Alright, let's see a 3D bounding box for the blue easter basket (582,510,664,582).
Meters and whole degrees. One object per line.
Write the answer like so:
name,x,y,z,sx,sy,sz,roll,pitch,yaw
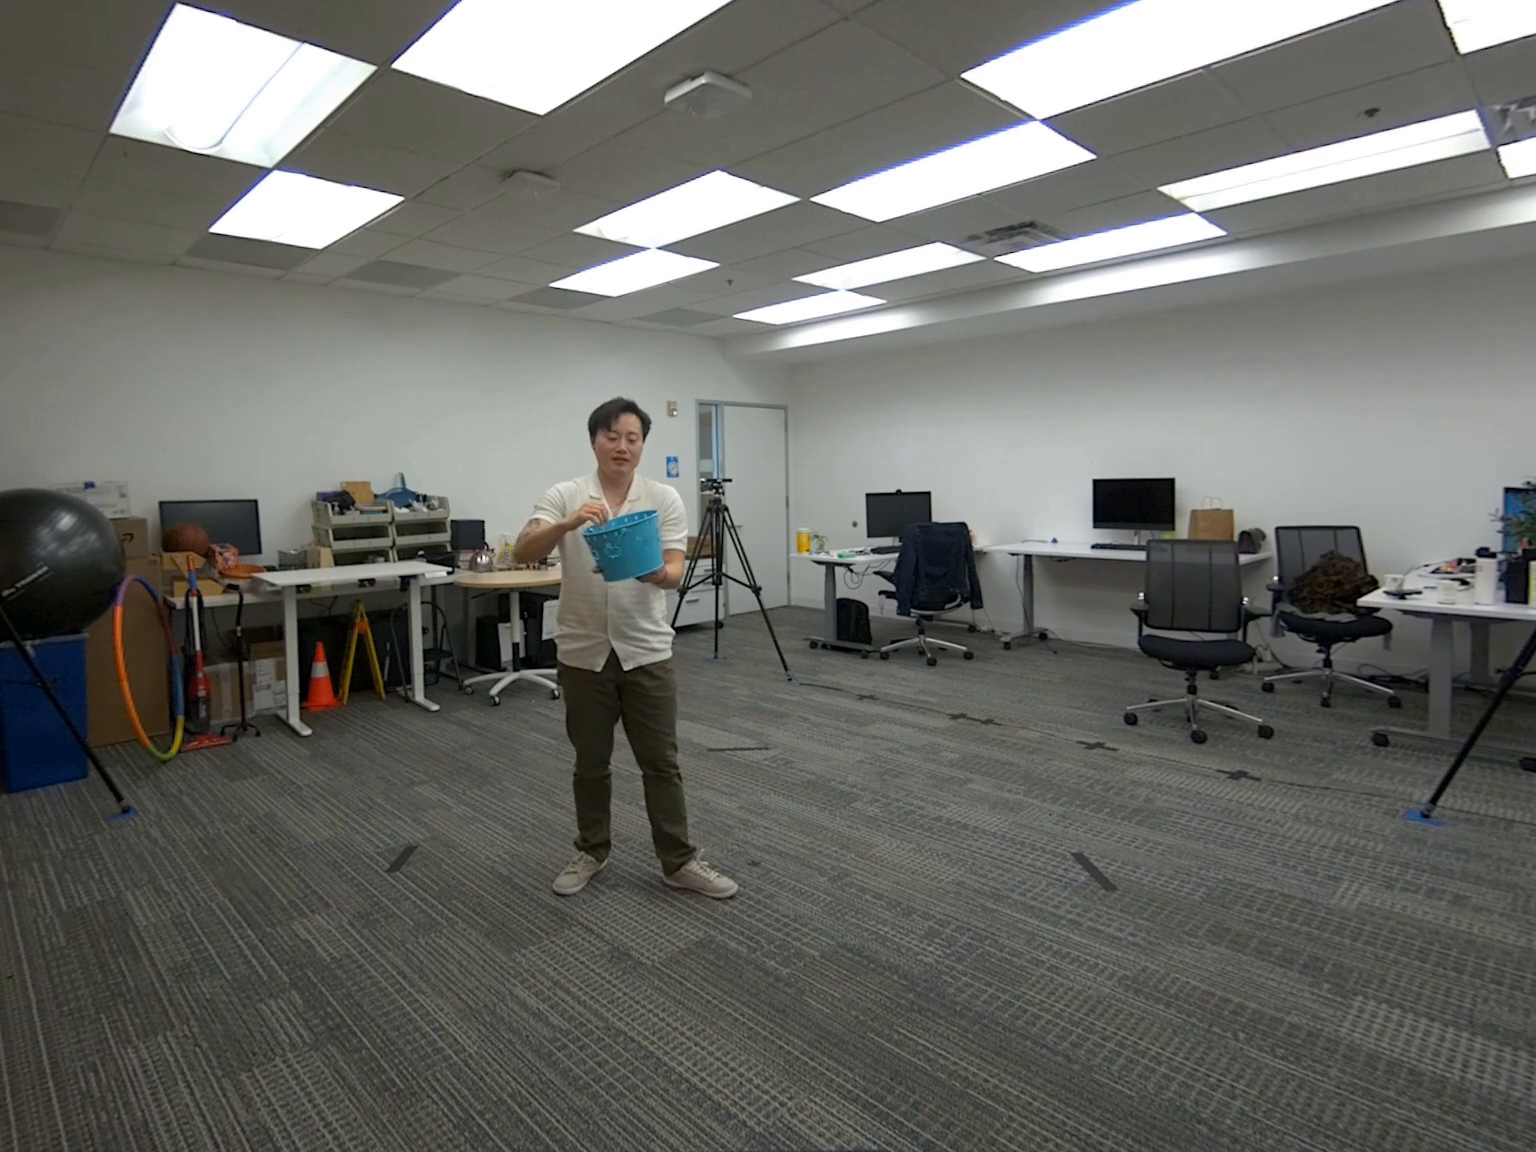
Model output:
blue easter basket,-0.418,-0.079,2.480,0.244,0.154,0.246,-16,13,2
